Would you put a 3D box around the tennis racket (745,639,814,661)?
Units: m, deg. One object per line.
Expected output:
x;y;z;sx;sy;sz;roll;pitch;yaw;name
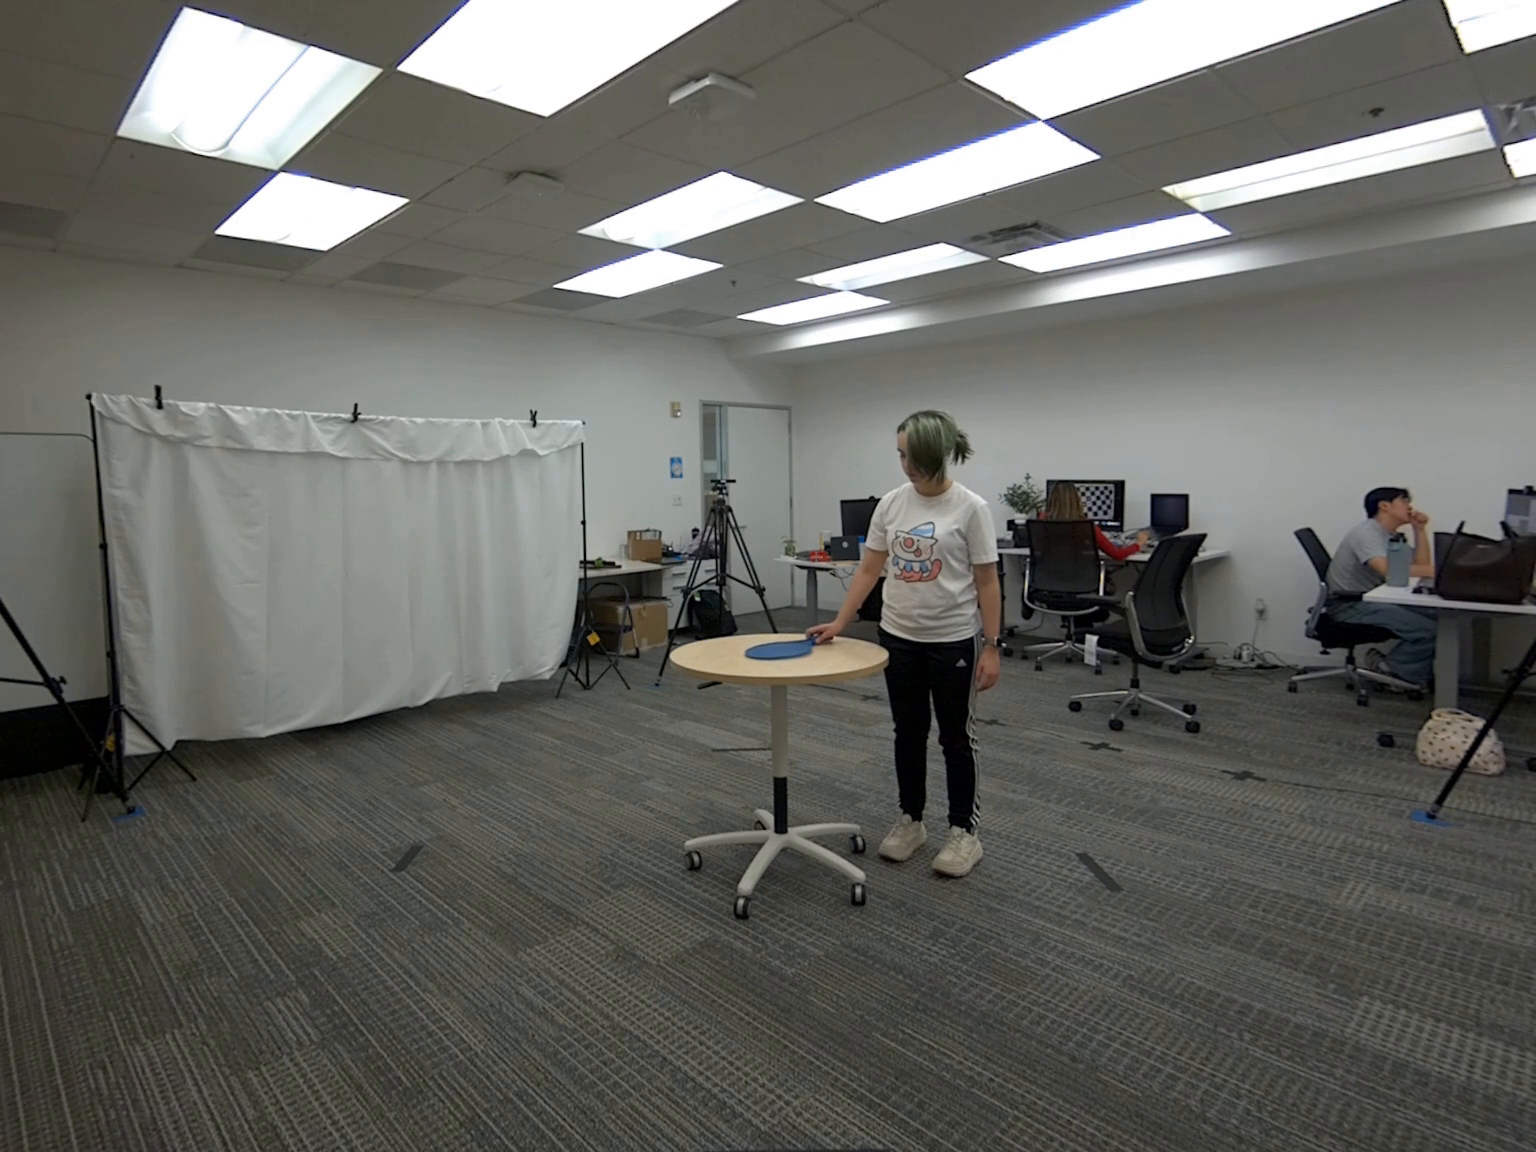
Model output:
0.104;0.260;3.058;0.422;0.031;0.220;-9;10;-44;tennis racket
